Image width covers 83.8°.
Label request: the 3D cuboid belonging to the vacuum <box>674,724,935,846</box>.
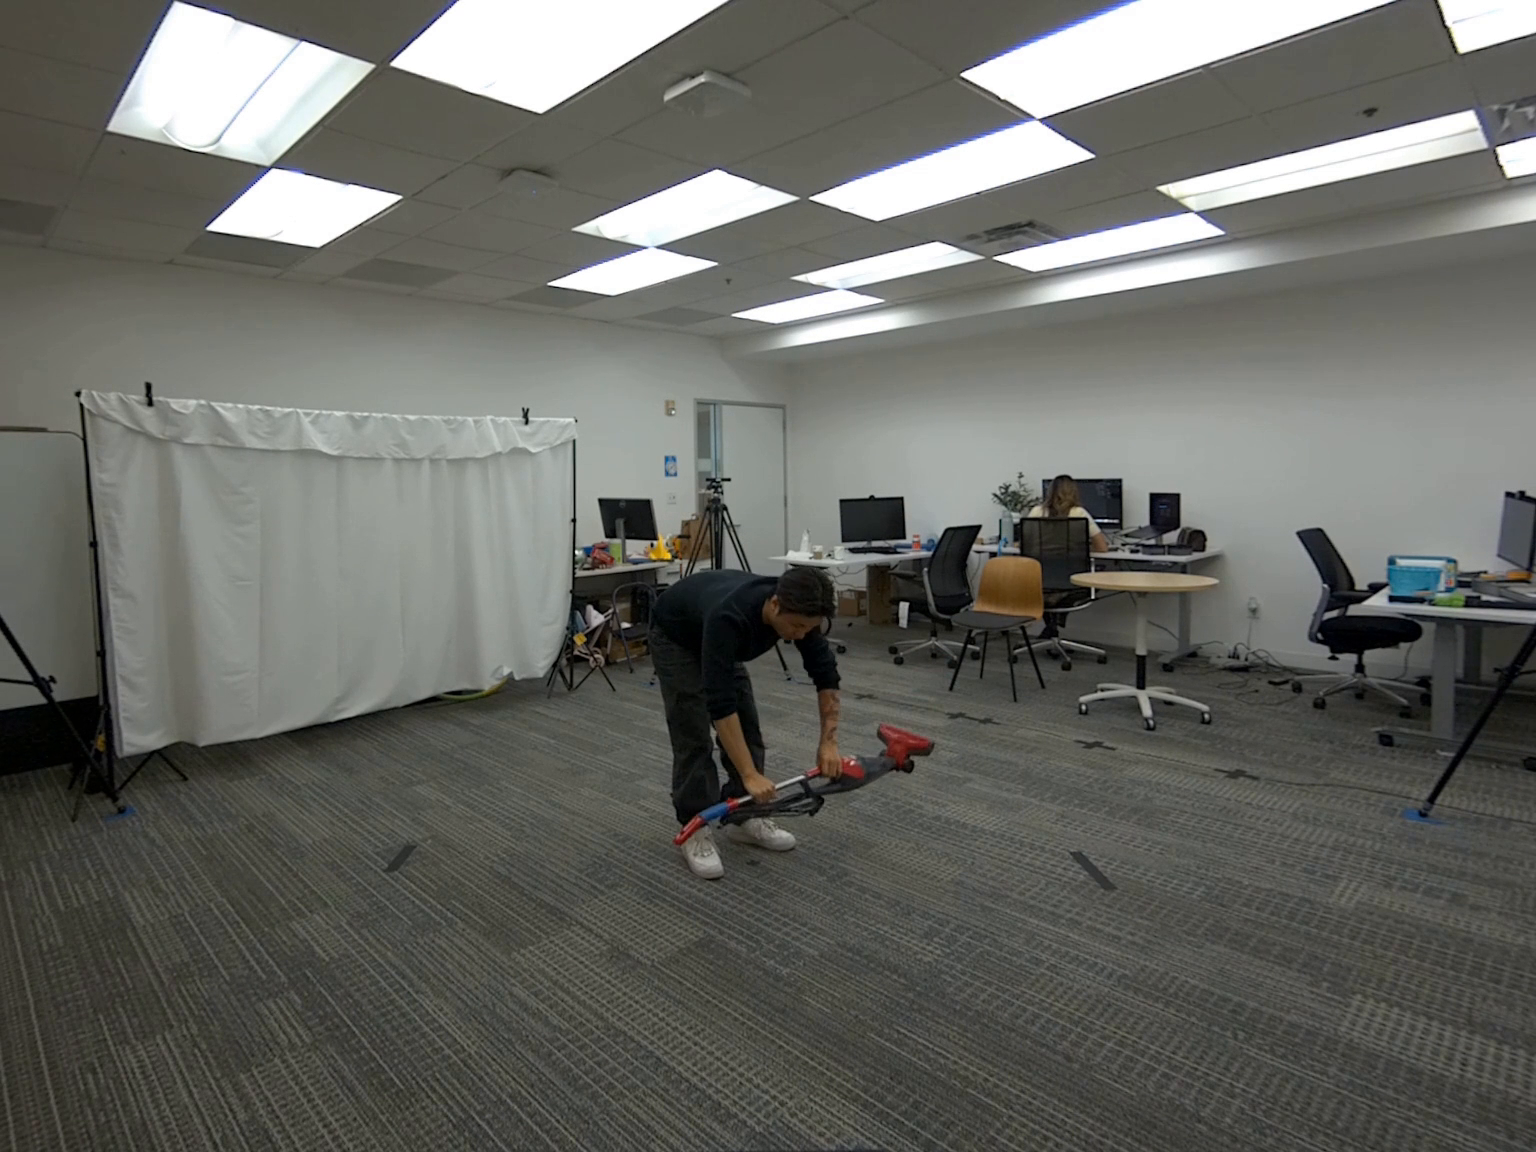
[{"bbox_3d":[0.124,0.728,2.877,1.024,0.143,0.261,-10,13,-39],"label":"vacuum"}]
